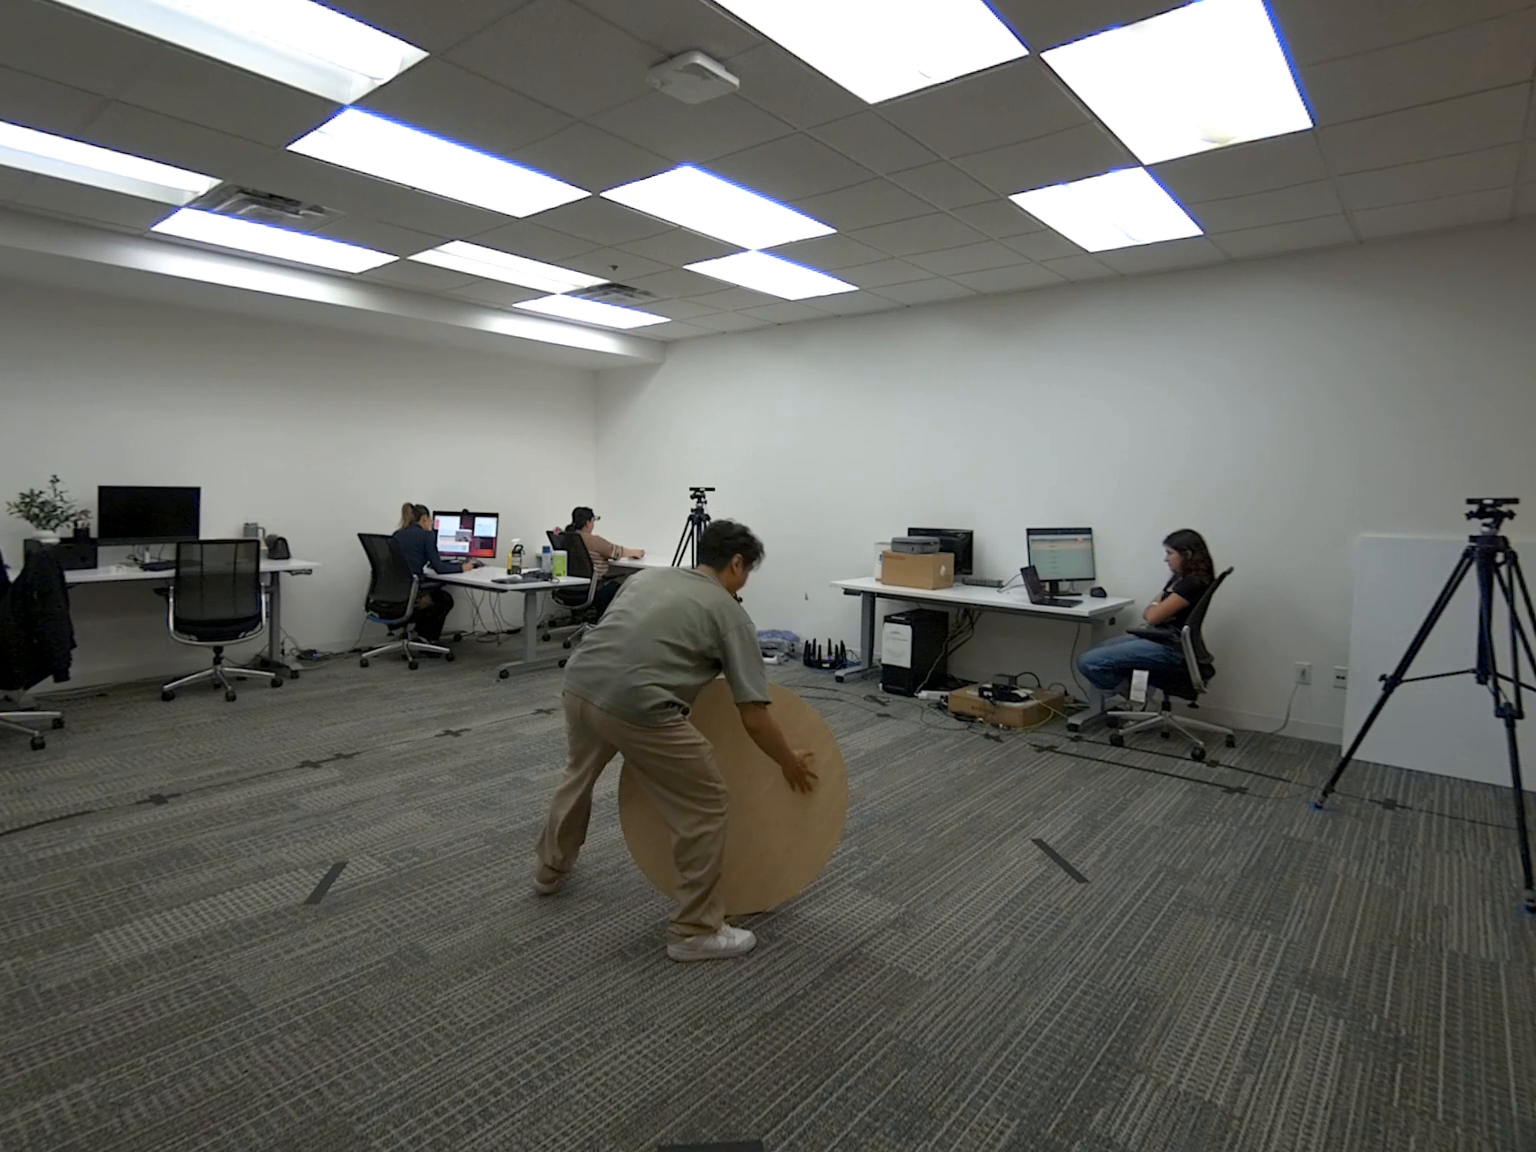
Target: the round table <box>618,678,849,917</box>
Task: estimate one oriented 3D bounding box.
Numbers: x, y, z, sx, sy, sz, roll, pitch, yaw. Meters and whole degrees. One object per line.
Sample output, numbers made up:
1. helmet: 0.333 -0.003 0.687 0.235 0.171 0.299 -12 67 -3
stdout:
1. round table: -0.184 0.724 3.187 0.778 0.788 0.792 0 -2 -9
